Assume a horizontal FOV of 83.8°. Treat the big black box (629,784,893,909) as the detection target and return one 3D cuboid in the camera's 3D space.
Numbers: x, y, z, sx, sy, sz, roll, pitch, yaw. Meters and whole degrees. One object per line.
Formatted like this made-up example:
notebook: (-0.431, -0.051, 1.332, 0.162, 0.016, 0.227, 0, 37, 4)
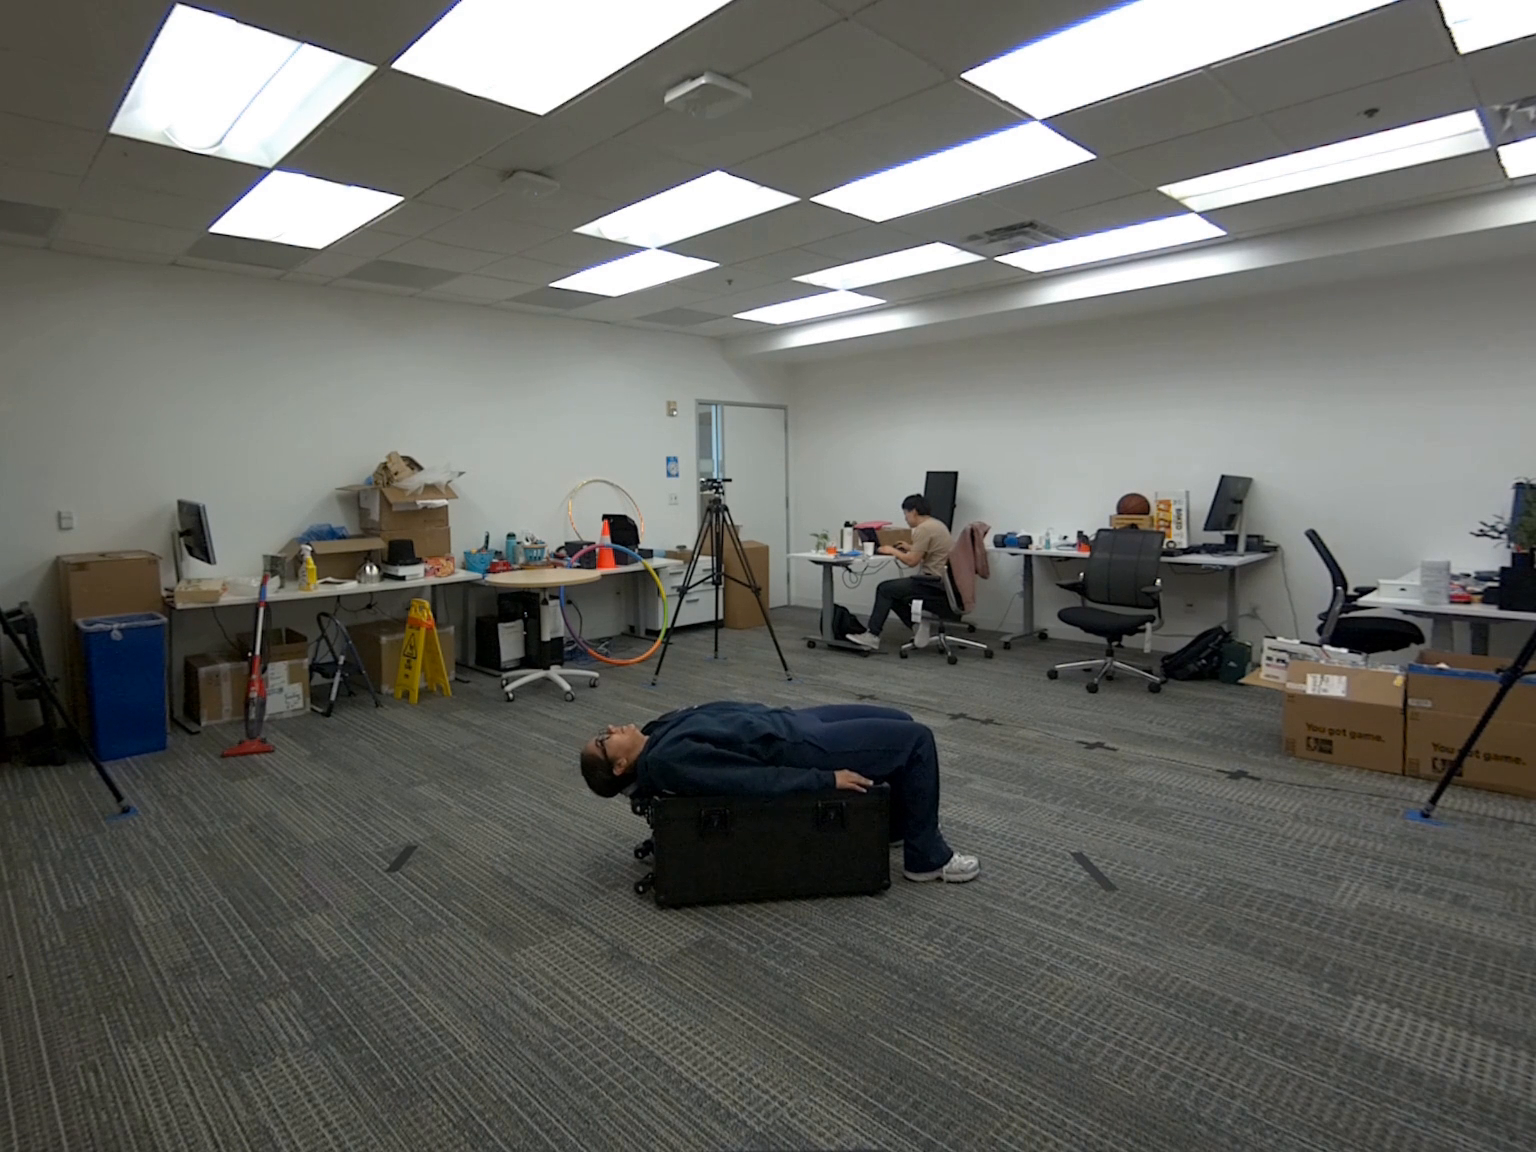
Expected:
big black box: (-0.056, 0.865, 3.028, 0.856, 0.394, 0.528, -1, 7, -7)
